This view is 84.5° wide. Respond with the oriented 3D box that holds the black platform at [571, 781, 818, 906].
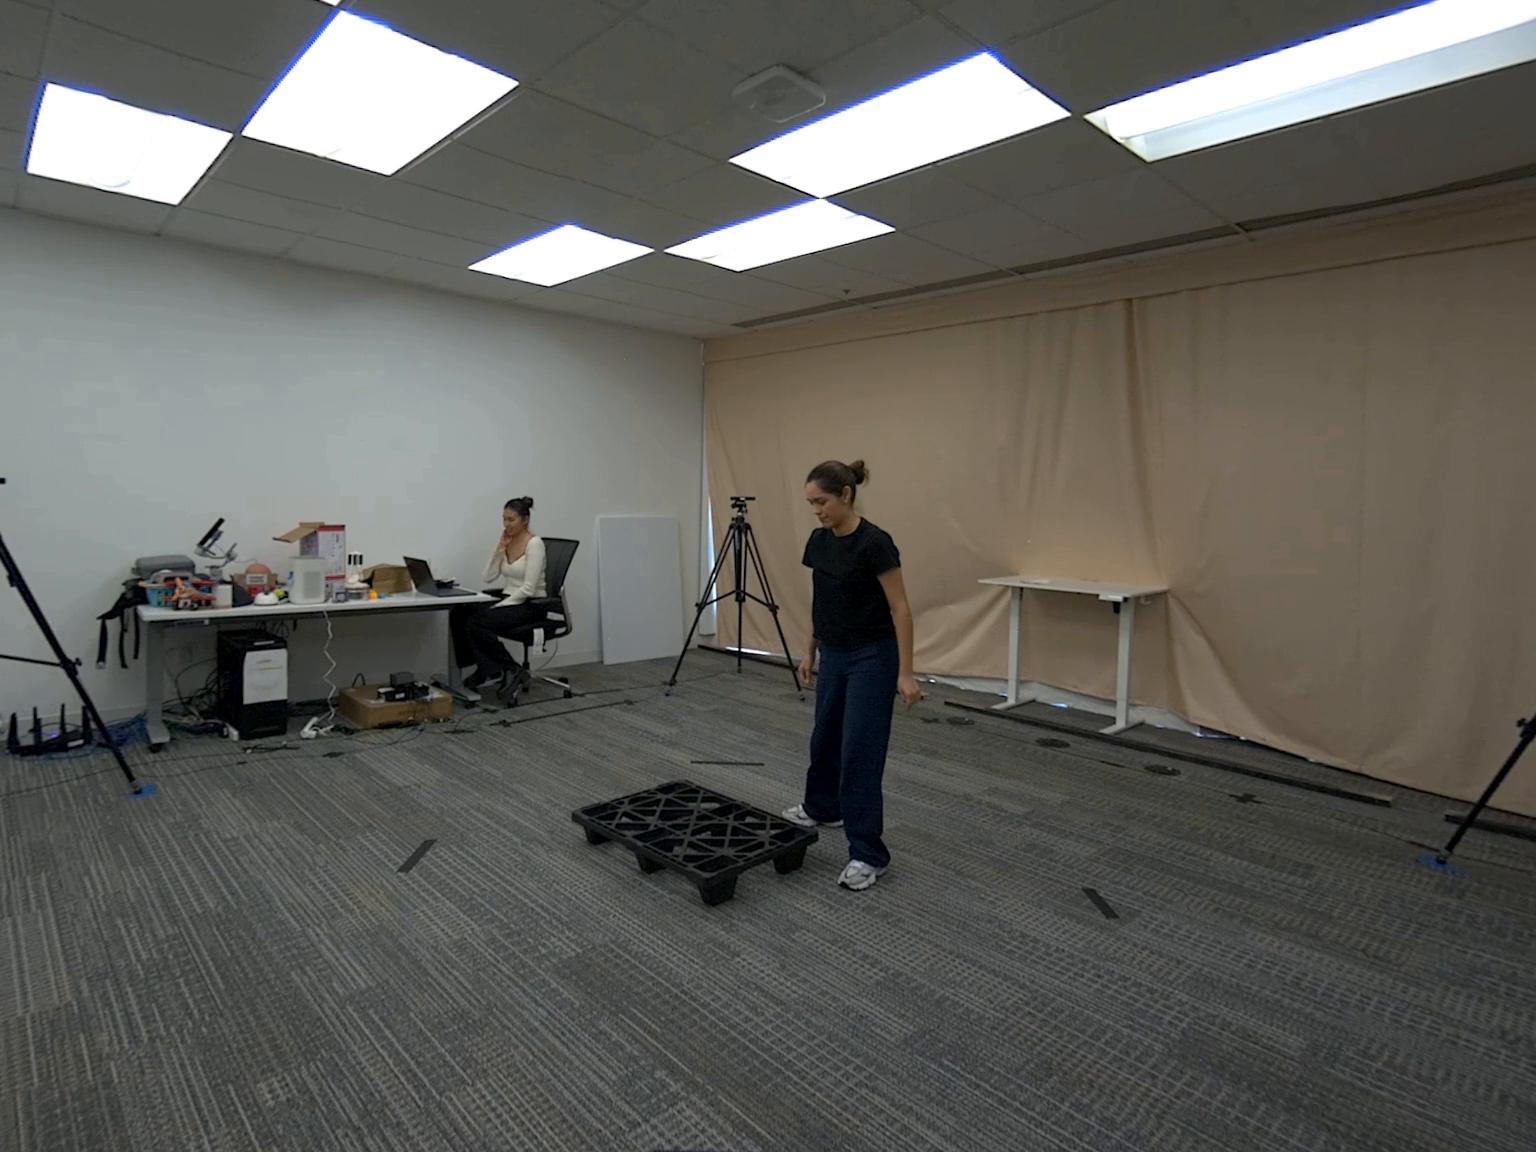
[{"bbox_3d":[-0.301,1.024,3.269,0.826,0.143,0.591,6,7,43],"label":"black platform"}]
